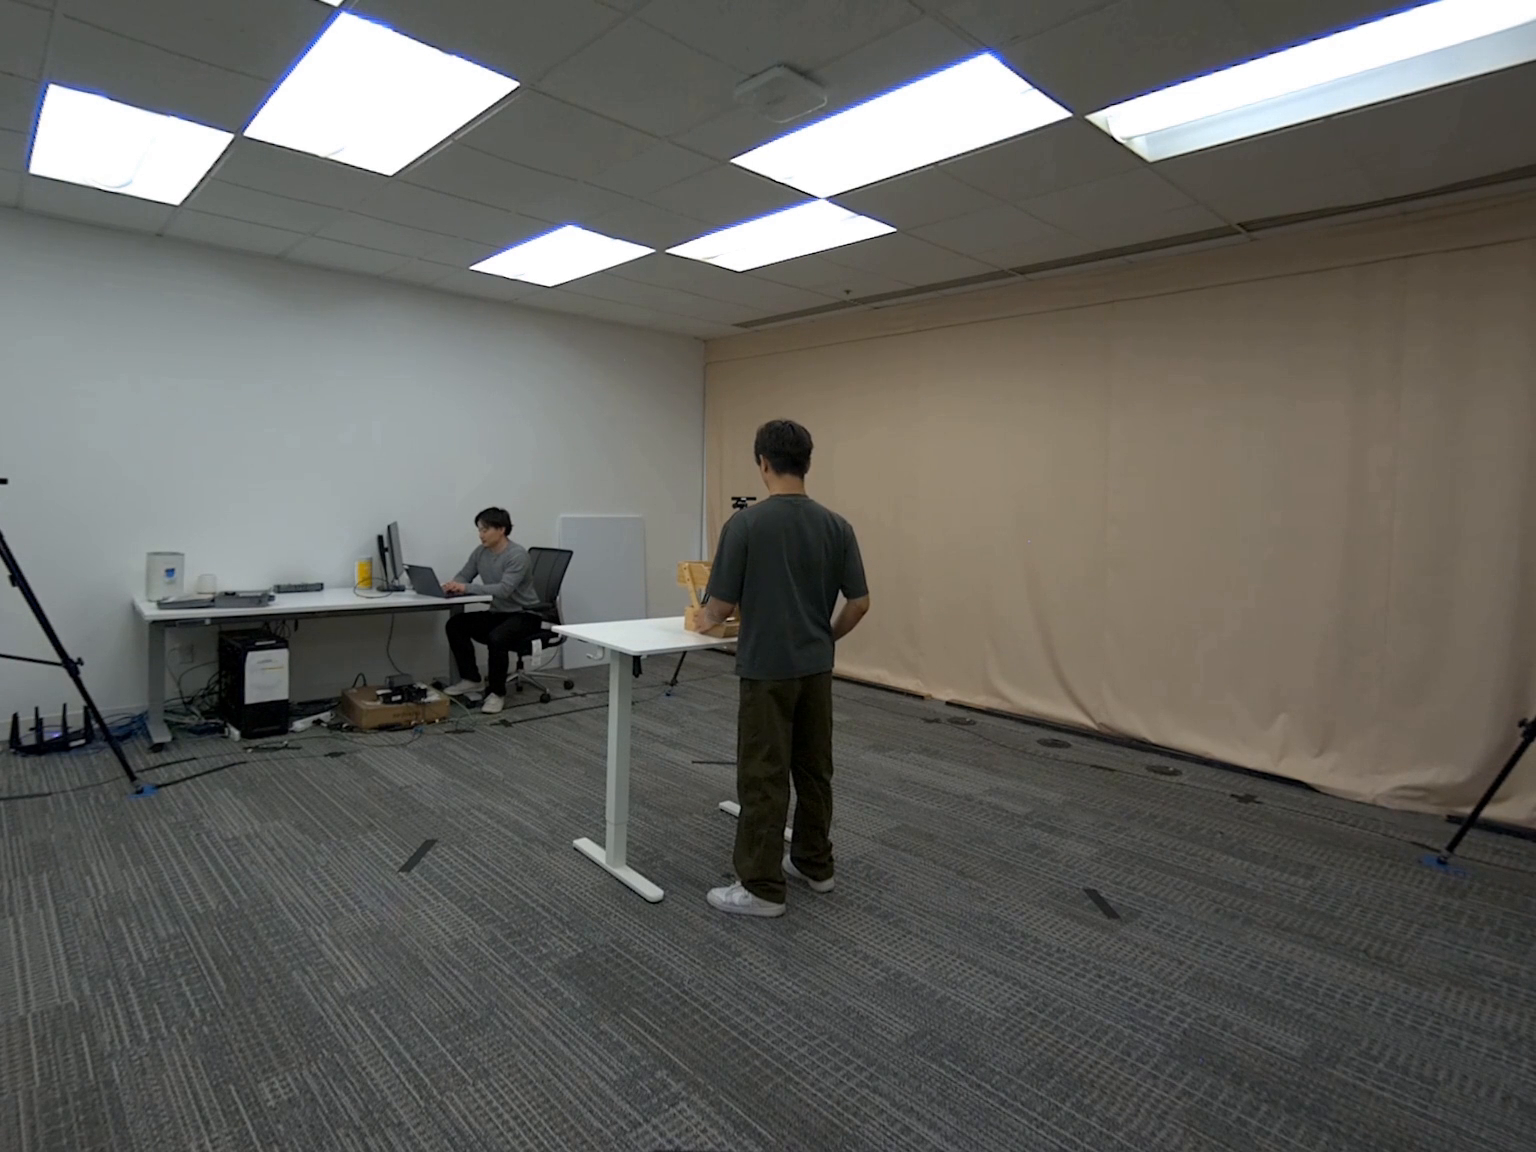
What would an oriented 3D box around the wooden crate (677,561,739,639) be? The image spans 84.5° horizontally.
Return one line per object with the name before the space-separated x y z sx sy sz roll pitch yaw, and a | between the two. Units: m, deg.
wooden crate | -0.149 0.079 3.266 0.317 0.273 0.310 -2 5 -41
